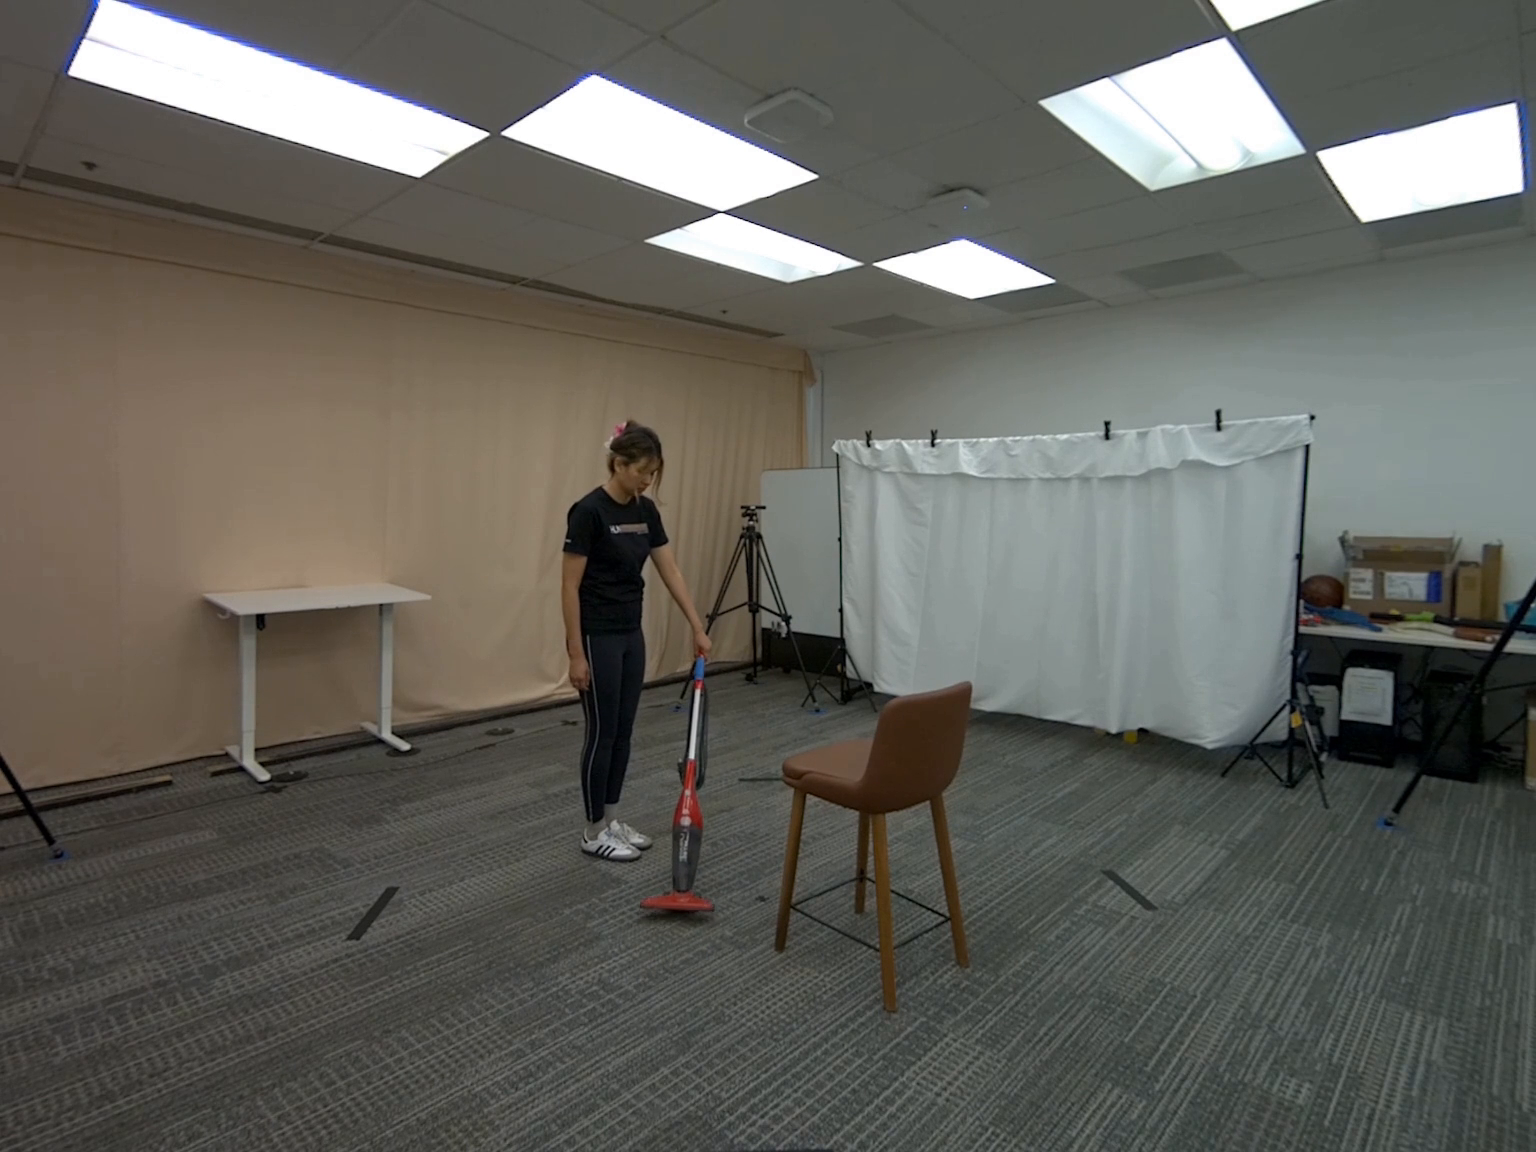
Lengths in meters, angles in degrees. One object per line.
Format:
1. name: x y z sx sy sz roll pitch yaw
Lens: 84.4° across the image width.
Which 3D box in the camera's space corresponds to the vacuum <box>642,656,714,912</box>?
1. vacuum: -0.275 0.716 3.194 0.255 1.065 0.140 -1 -39 7
